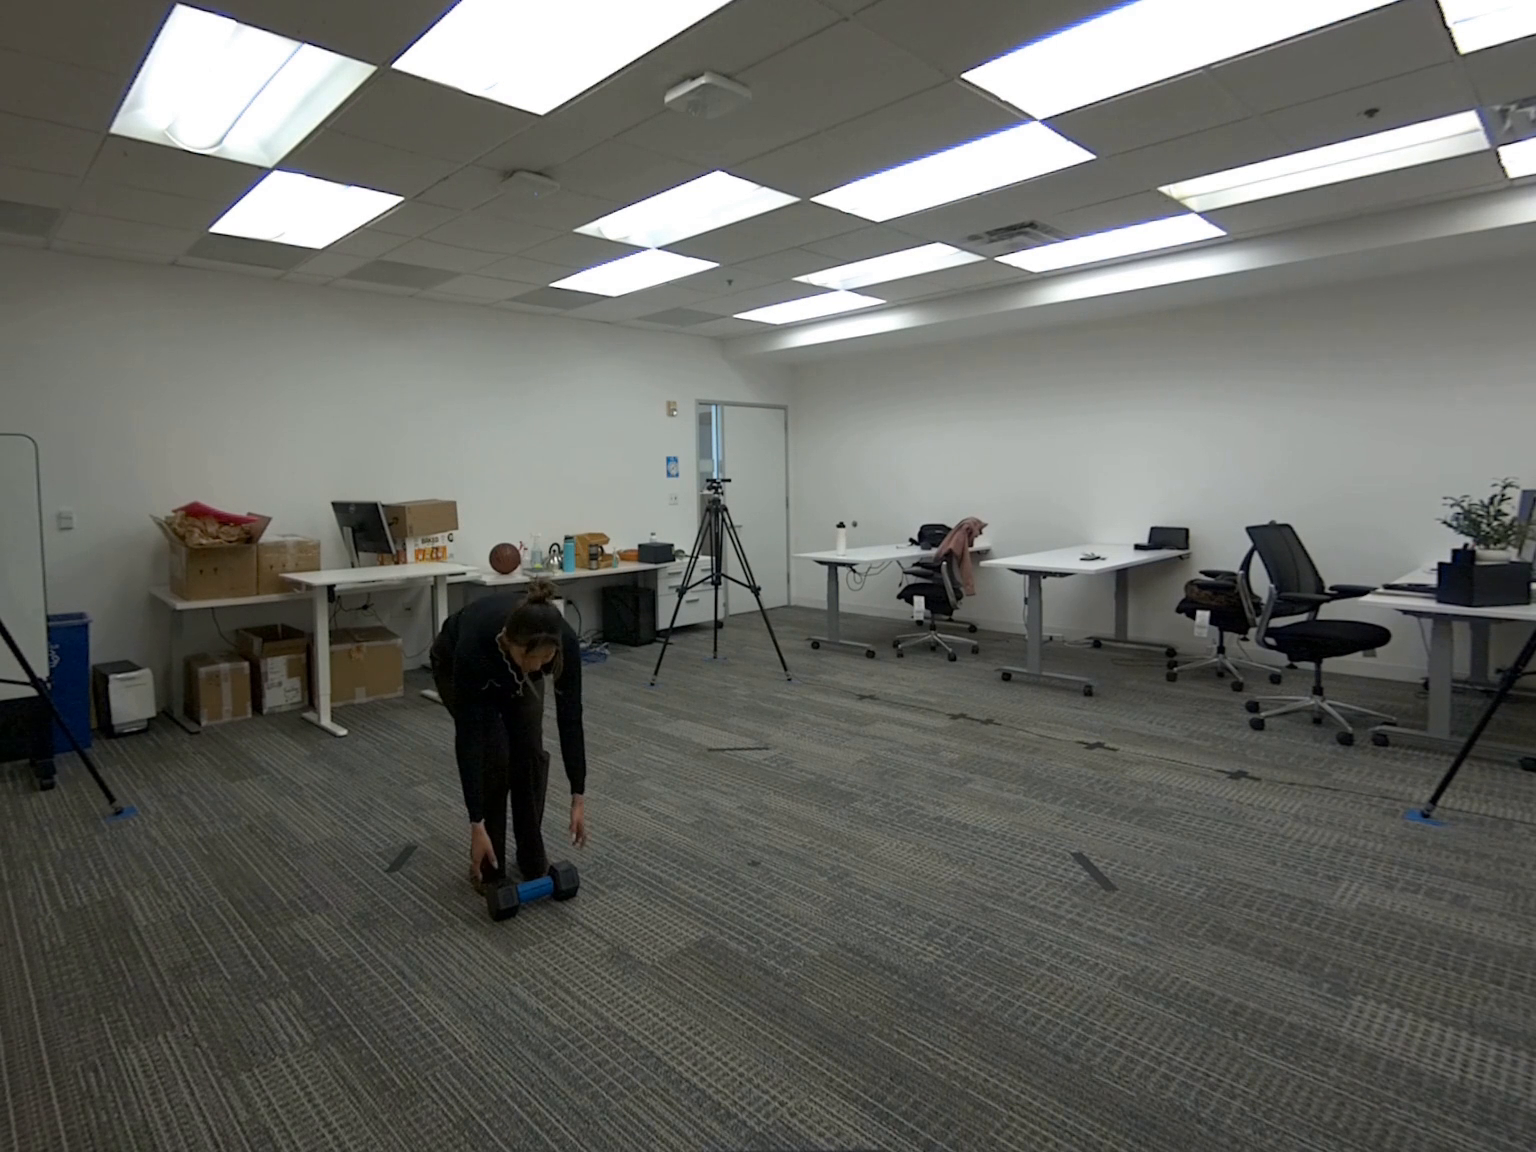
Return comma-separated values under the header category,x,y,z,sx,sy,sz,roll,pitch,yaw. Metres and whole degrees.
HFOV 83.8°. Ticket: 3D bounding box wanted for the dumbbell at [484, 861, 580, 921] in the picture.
category,x,y,z,sx,sy,sz,roll,pitch,yaw
dumbbell,-0.772,1.037,2.823,0.286,0.126,0.109,-6,-23,-36
